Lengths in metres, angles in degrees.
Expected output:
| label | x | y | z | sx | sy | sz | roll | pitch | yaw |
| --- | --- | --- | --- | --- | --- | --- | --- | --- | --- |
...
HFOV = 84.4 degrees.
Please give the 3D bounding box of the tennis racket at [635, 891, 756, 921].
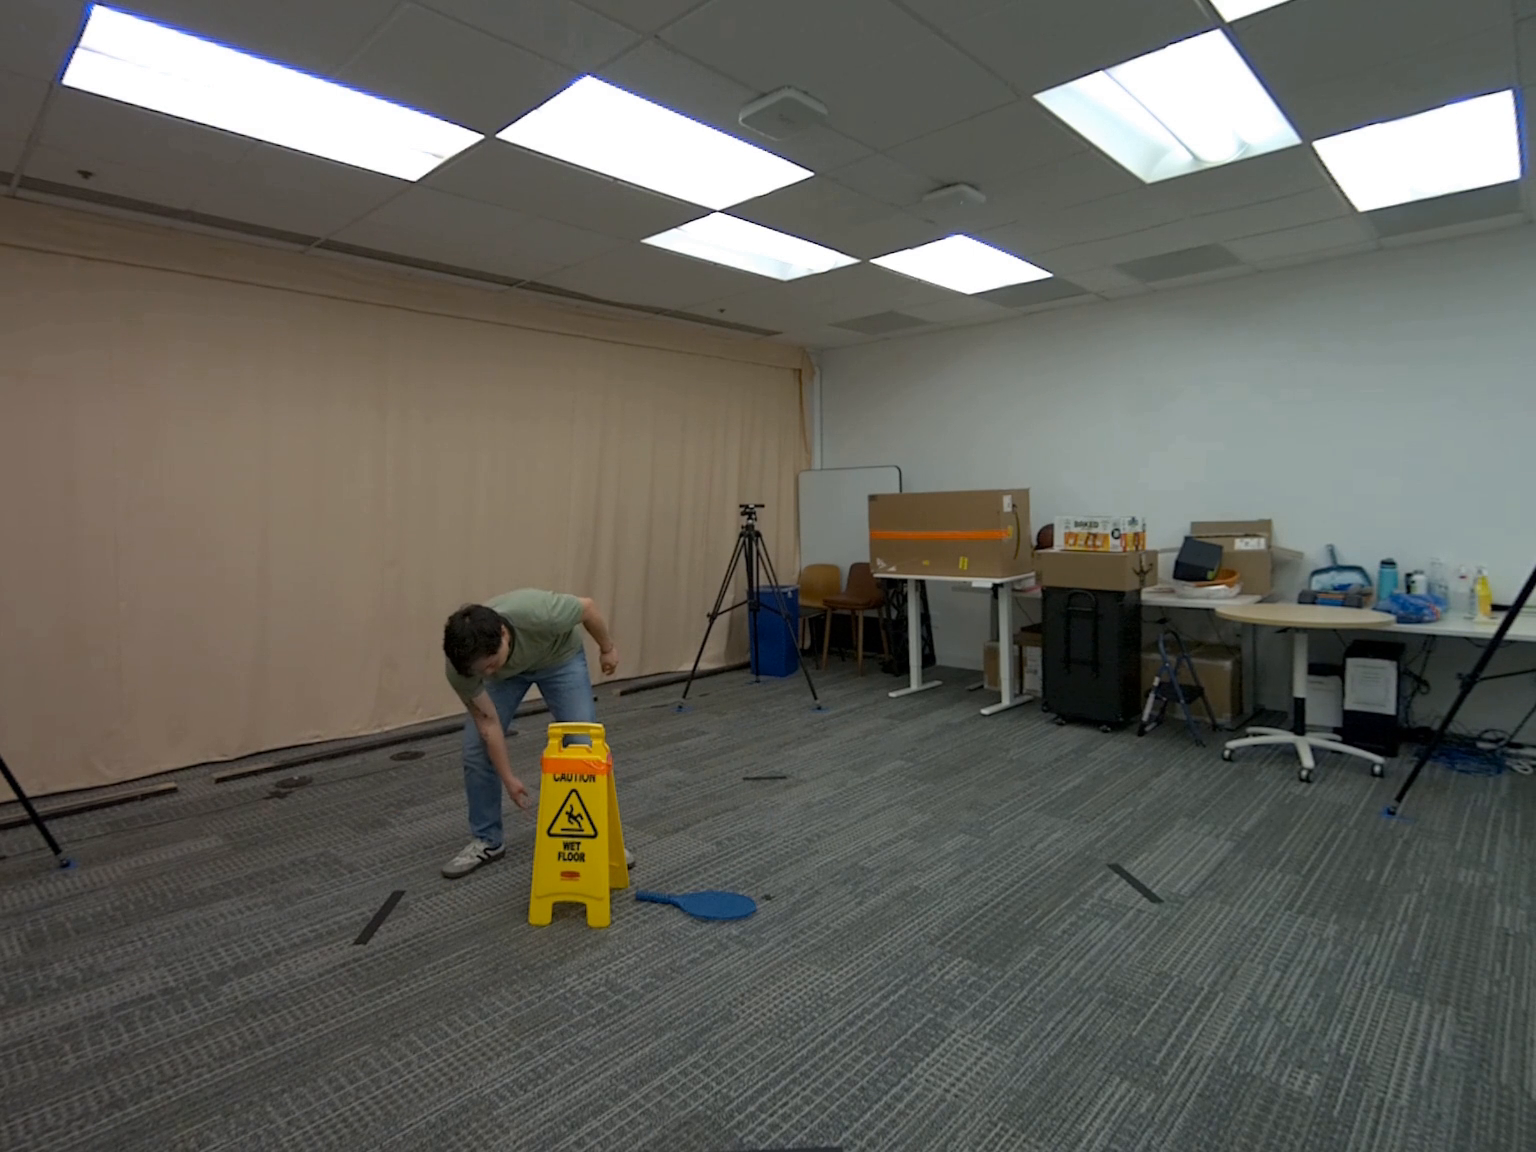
| label | x | y | z | sx | sy | sz | roll | pitch | yaw |
| --- | --- | --- | --- | --- | --- | --- | --- | --- | --- |
| tennis racket | -0.252 | 1.130 | 2.932 | 0.440 | 0.032 | 0.210 | 1 | 3 | 16 |
